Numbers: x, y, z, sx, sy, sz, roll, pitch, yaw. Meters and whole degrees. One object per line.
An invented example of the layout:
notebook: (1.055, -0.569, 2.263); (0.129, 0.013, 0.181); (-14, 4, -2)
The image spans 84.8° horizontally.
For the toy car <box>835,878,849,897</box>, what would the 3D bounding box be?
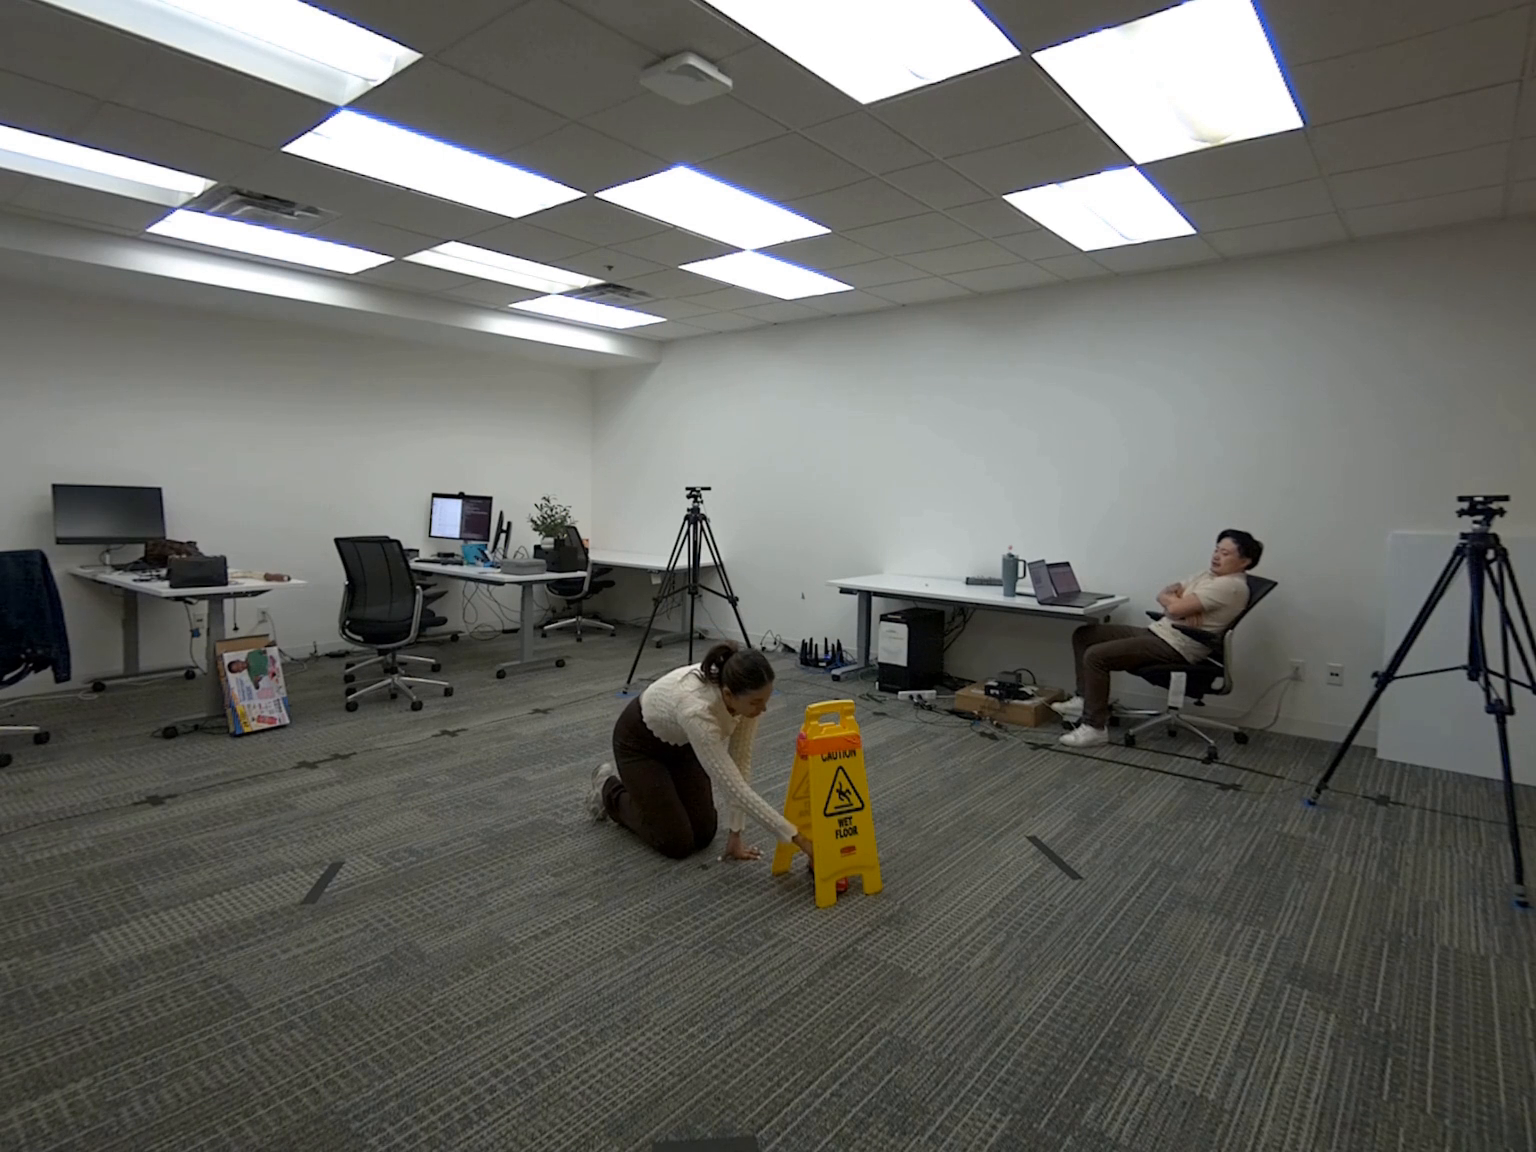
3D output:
toy car: (0.211, 1.049, 3.007); (0.130, 0.084, 0.252); (1, -6, 0)
